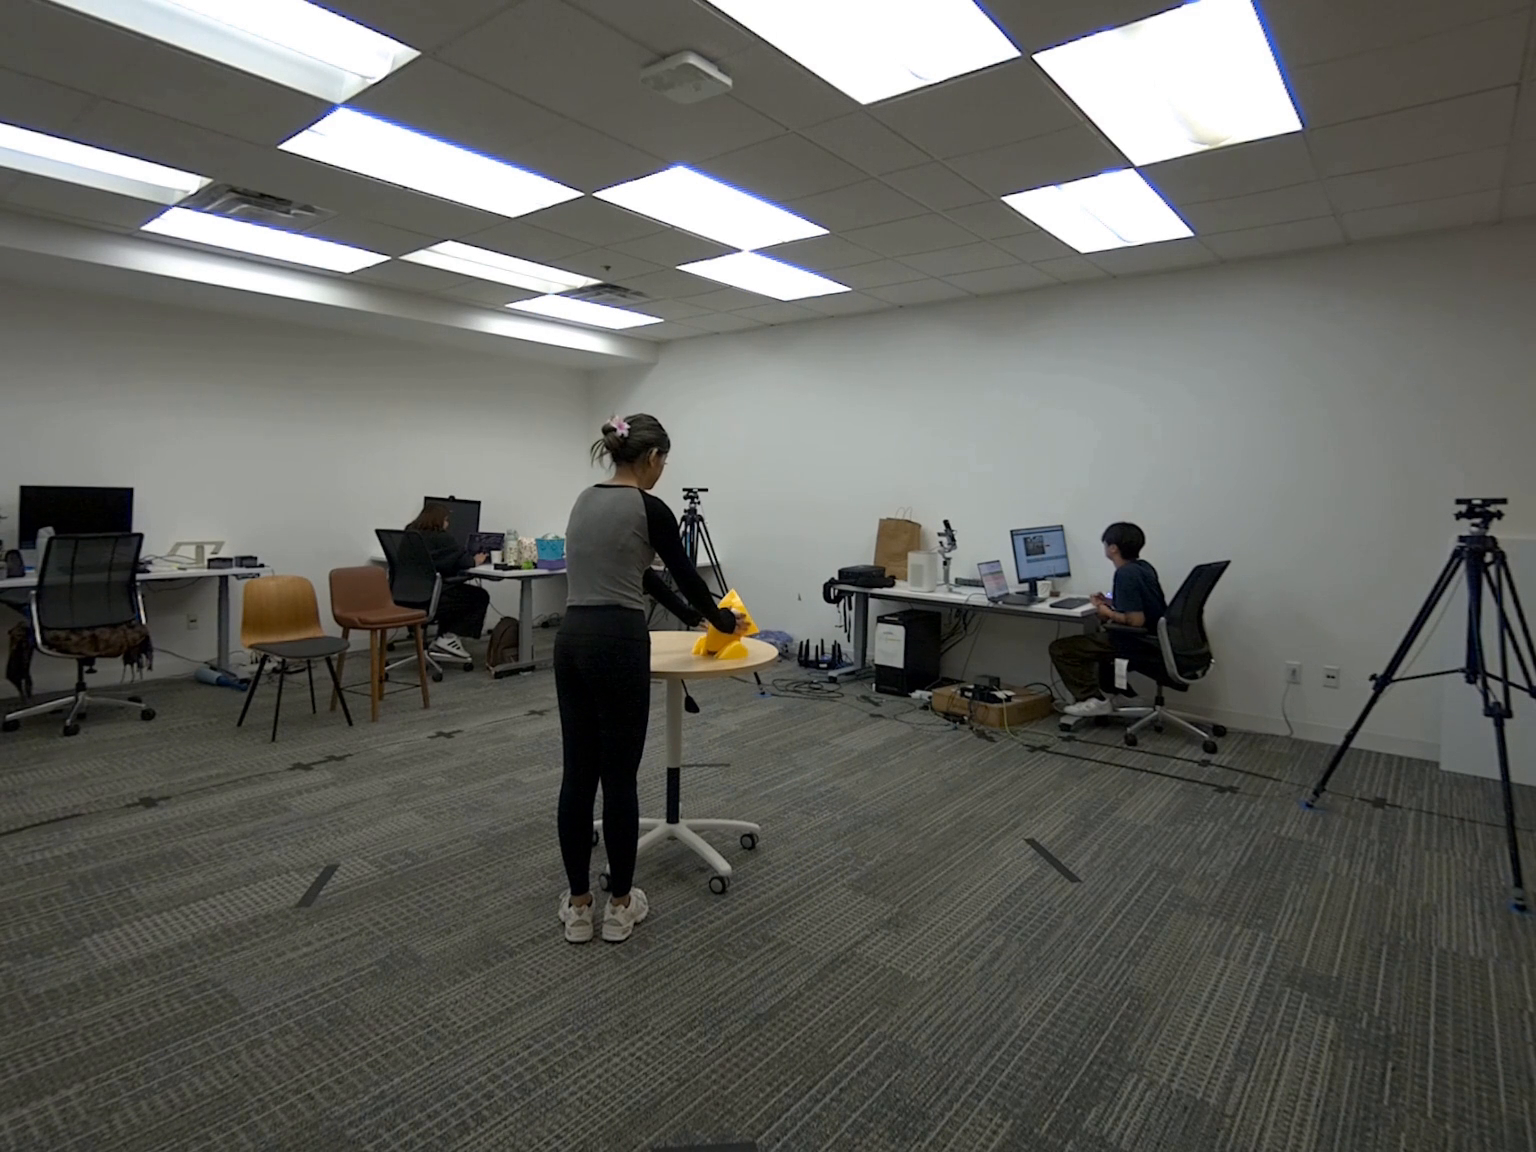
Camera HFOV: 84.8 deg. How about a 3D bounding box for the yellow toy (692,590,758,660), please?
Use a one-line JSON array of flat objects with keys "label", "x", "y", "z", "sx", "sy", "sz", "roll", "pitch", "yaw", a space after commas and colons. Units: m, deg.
[{"label": "yellow toy", "x": -0.180, "y": 0.164, "z": 3.083, "sx": 0.211, "sy": 0.230, "sz": 0.187, "roll": 5, "pitch": 6, "yaw": 37}]
